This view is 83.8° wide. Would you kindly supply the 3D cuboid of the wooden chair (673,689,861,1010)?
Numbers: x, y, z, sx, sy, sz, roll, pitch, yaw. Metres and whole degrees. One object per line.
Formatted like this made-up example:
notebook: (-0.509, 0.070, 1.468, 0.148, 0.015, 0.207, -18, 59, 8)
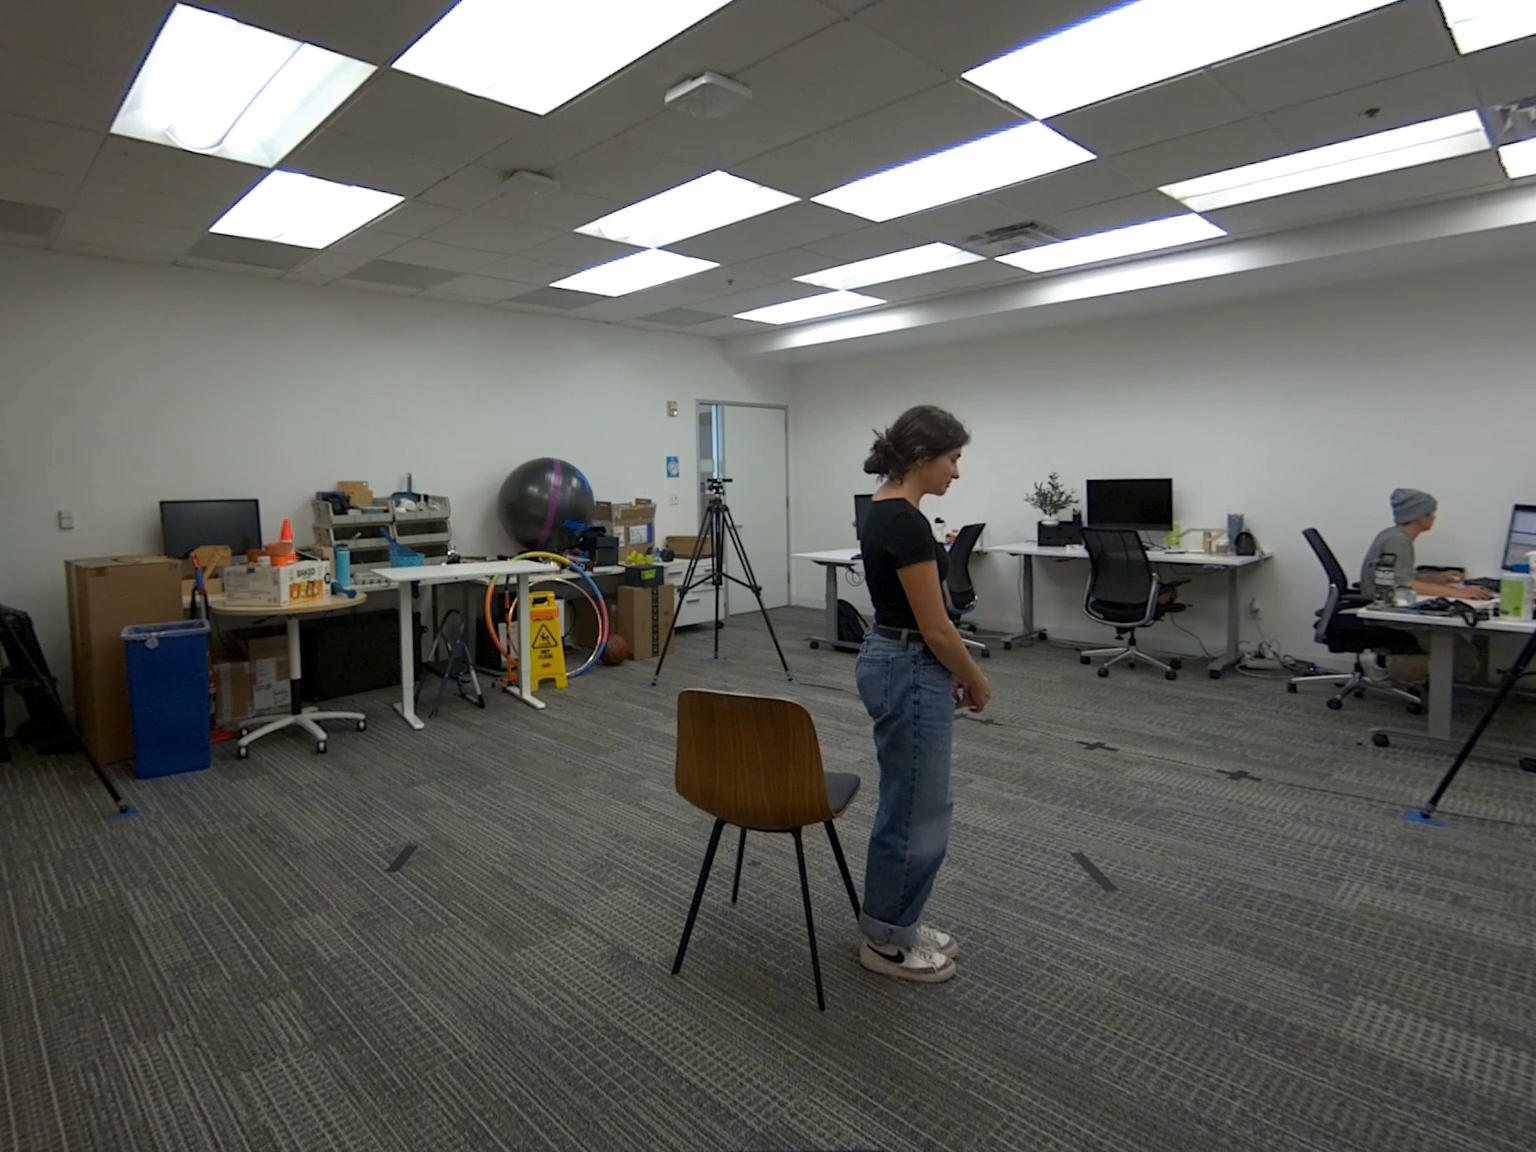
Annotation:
wooden chair: (0.011, 0.686, 2.510, 0.488, 0.871, 0.516, 1, 9, 23)
